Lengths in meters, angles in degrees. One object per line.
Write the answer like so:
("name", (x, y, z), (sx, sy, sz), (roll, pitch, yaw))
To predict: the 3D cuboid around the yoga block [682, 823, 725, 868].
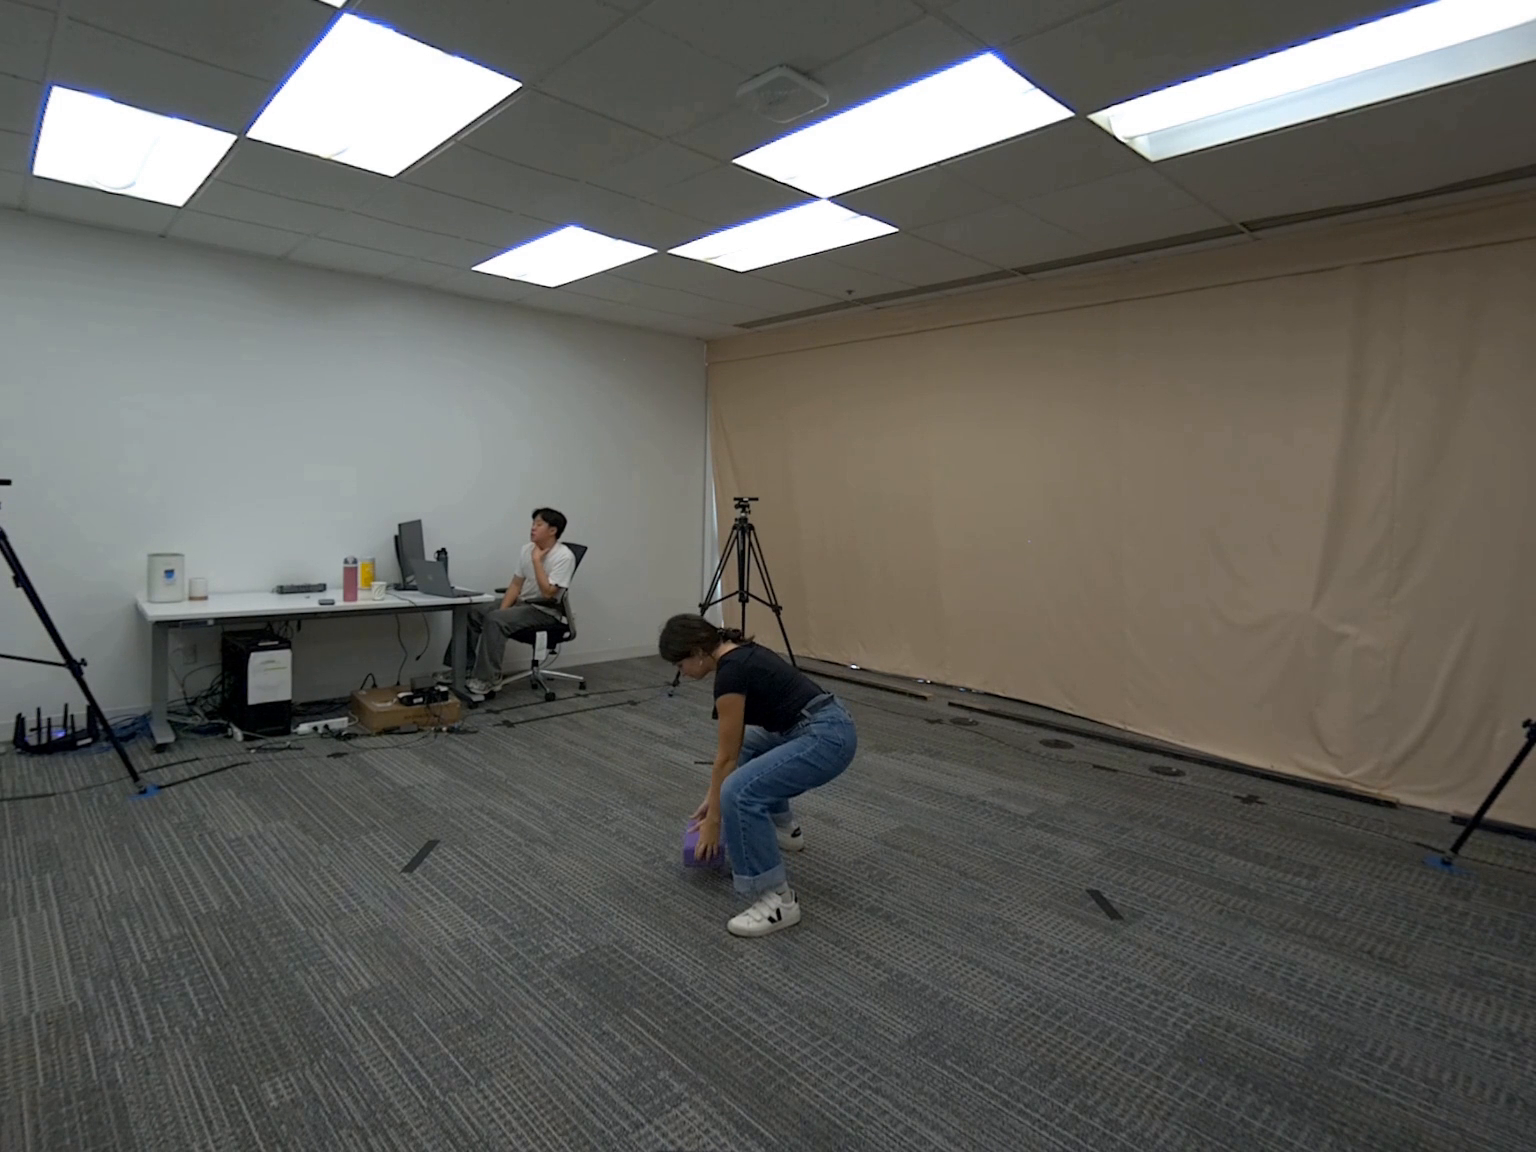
("yoga block", (-0.244, 0.991, 3.110), (0.149, 0.076, 0.230), (0, 6, 0))
